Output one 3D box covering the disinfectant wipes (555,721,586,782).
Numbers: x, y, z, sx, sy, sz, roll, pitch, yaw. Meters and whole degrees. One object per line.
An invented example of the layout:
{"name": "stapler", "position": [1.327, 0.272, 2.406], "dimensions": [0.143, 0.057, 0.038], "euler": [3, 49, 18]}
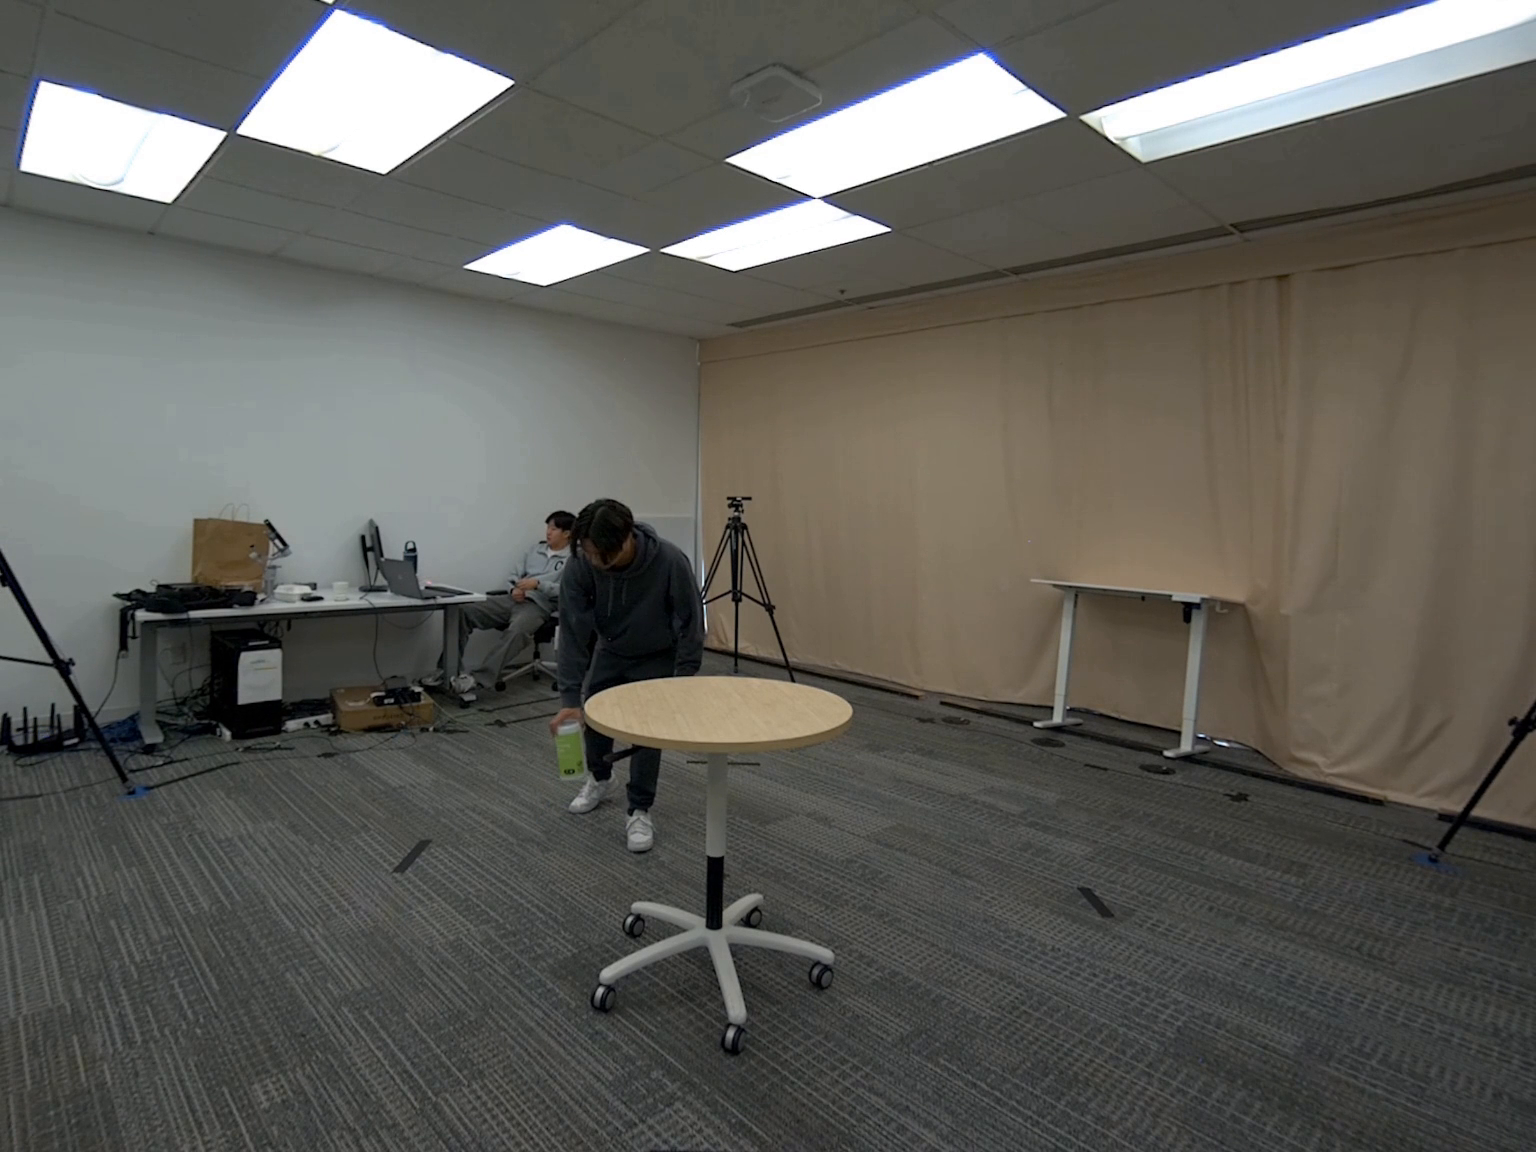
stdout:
{"name": "disinfectant wipes", "position": [-0.790, 0.681, 3.276], "dimensions": [0.118, 0.216, 0.118], "euler": [-5, 6, -1]}
